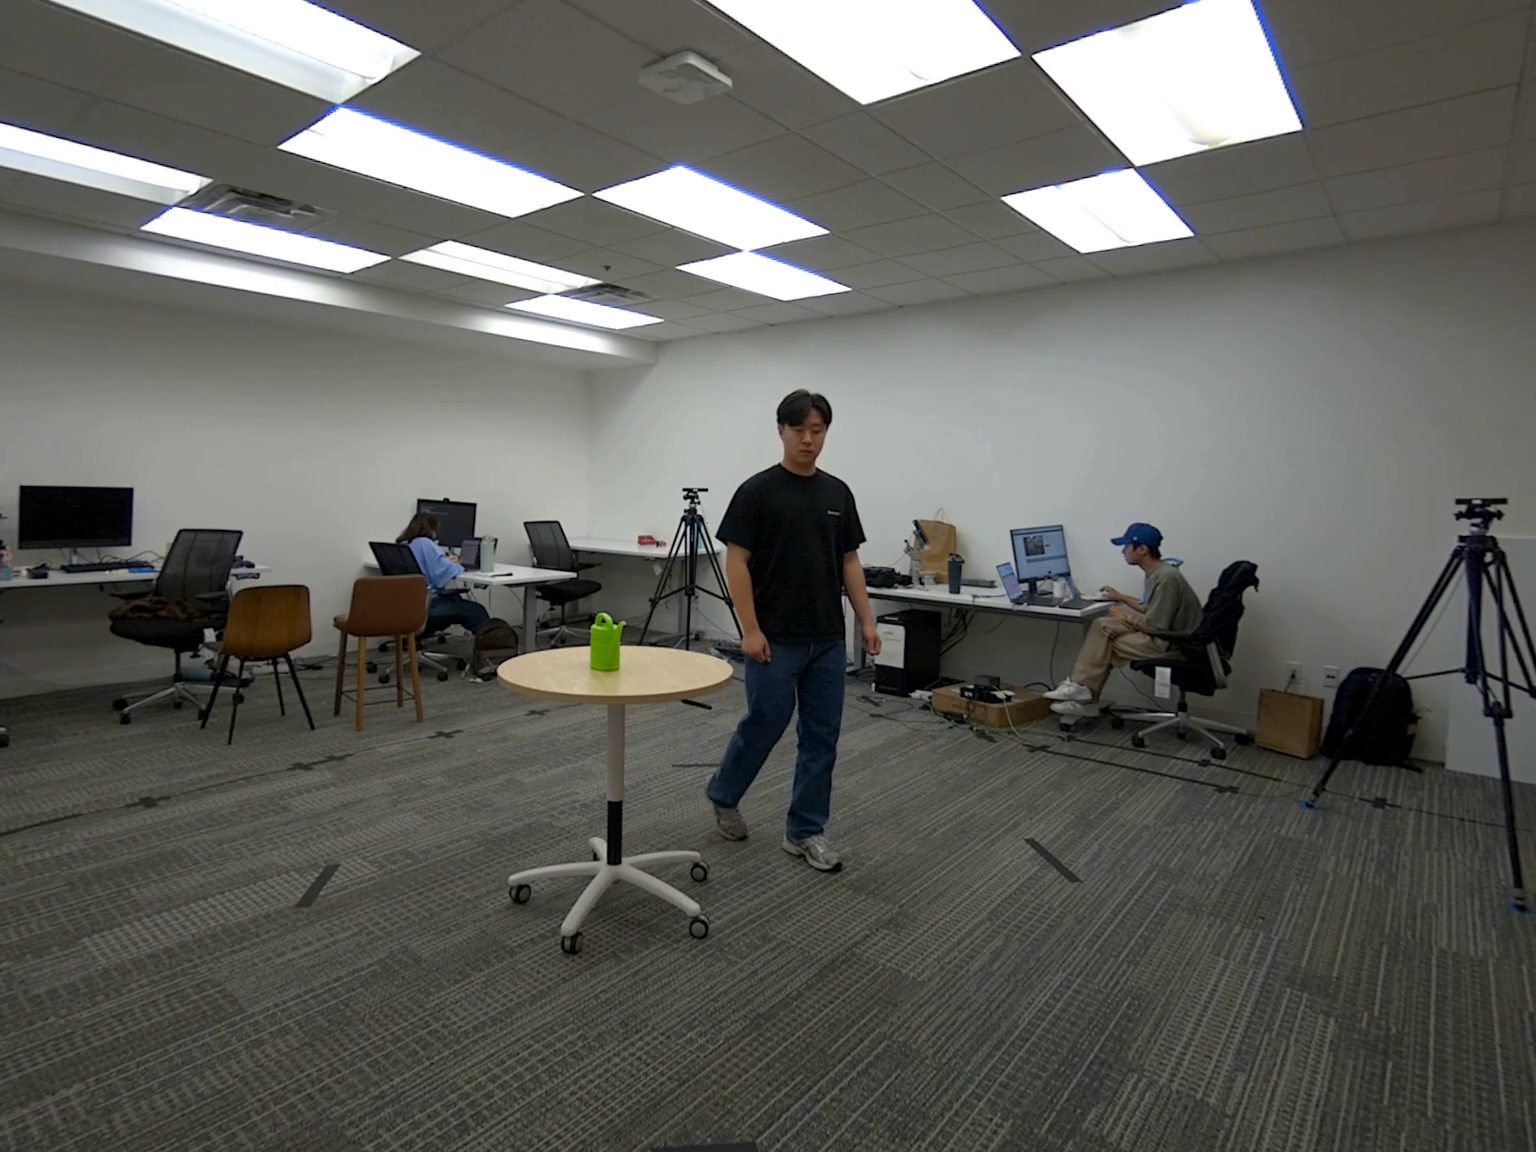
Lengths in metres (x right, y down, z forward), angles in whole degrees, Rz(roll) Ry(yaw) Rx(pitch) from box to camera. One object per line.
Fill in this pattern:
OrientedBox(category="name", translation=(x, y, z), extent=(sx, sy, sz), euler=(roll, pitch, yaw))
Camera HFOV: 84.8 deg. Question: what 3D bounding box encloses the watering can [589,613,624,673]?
OrientedBox(category="watering can", translation=(-0.538, 0.215, 2.747), extent=(0.097, 0.176, 0.282), euler=(1, 4, -12))
